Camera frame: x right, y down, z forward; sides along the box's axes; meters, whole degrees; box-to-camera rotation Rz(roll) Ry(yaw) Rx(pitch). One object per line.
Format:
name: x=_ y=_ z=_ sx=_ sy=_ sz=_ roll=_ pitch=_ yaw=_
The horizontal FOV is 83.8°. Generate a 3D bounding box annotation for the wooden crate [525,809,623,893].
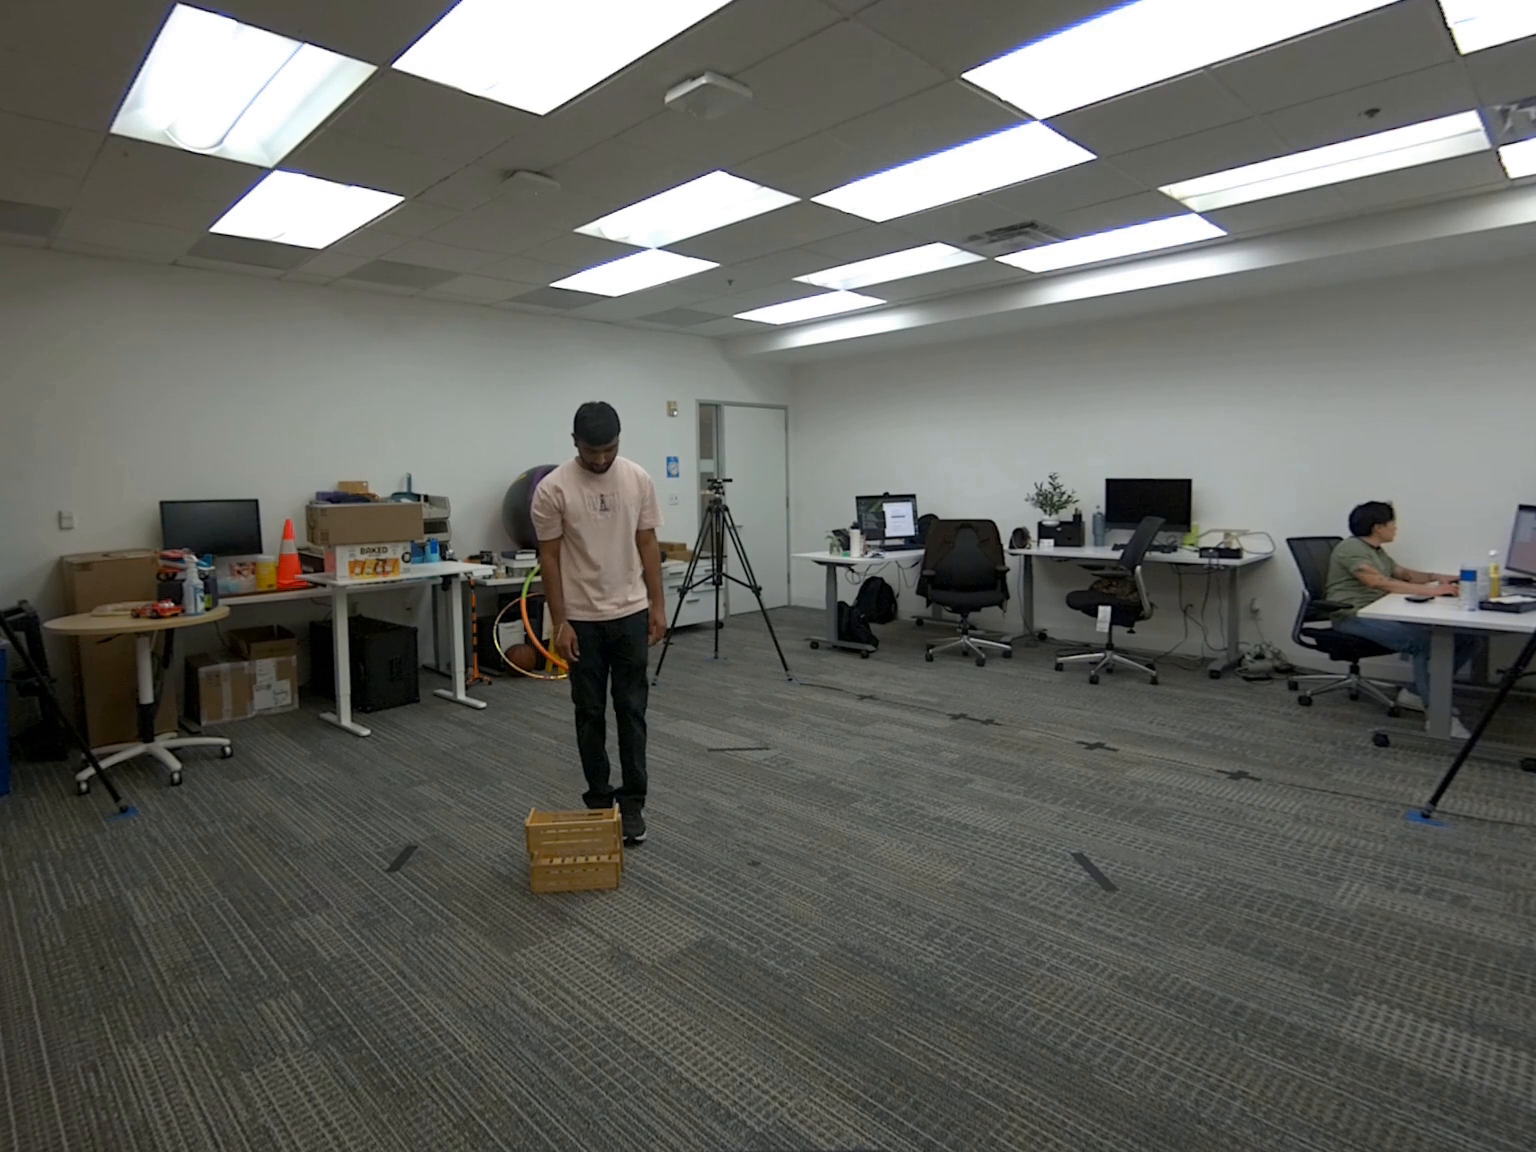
wooden crate: x=-0.685 y=0.939 z=3.019 sx=0.323 sy=0.272 sz=0.305 roll=-2 pitch=7 yaw=-6
